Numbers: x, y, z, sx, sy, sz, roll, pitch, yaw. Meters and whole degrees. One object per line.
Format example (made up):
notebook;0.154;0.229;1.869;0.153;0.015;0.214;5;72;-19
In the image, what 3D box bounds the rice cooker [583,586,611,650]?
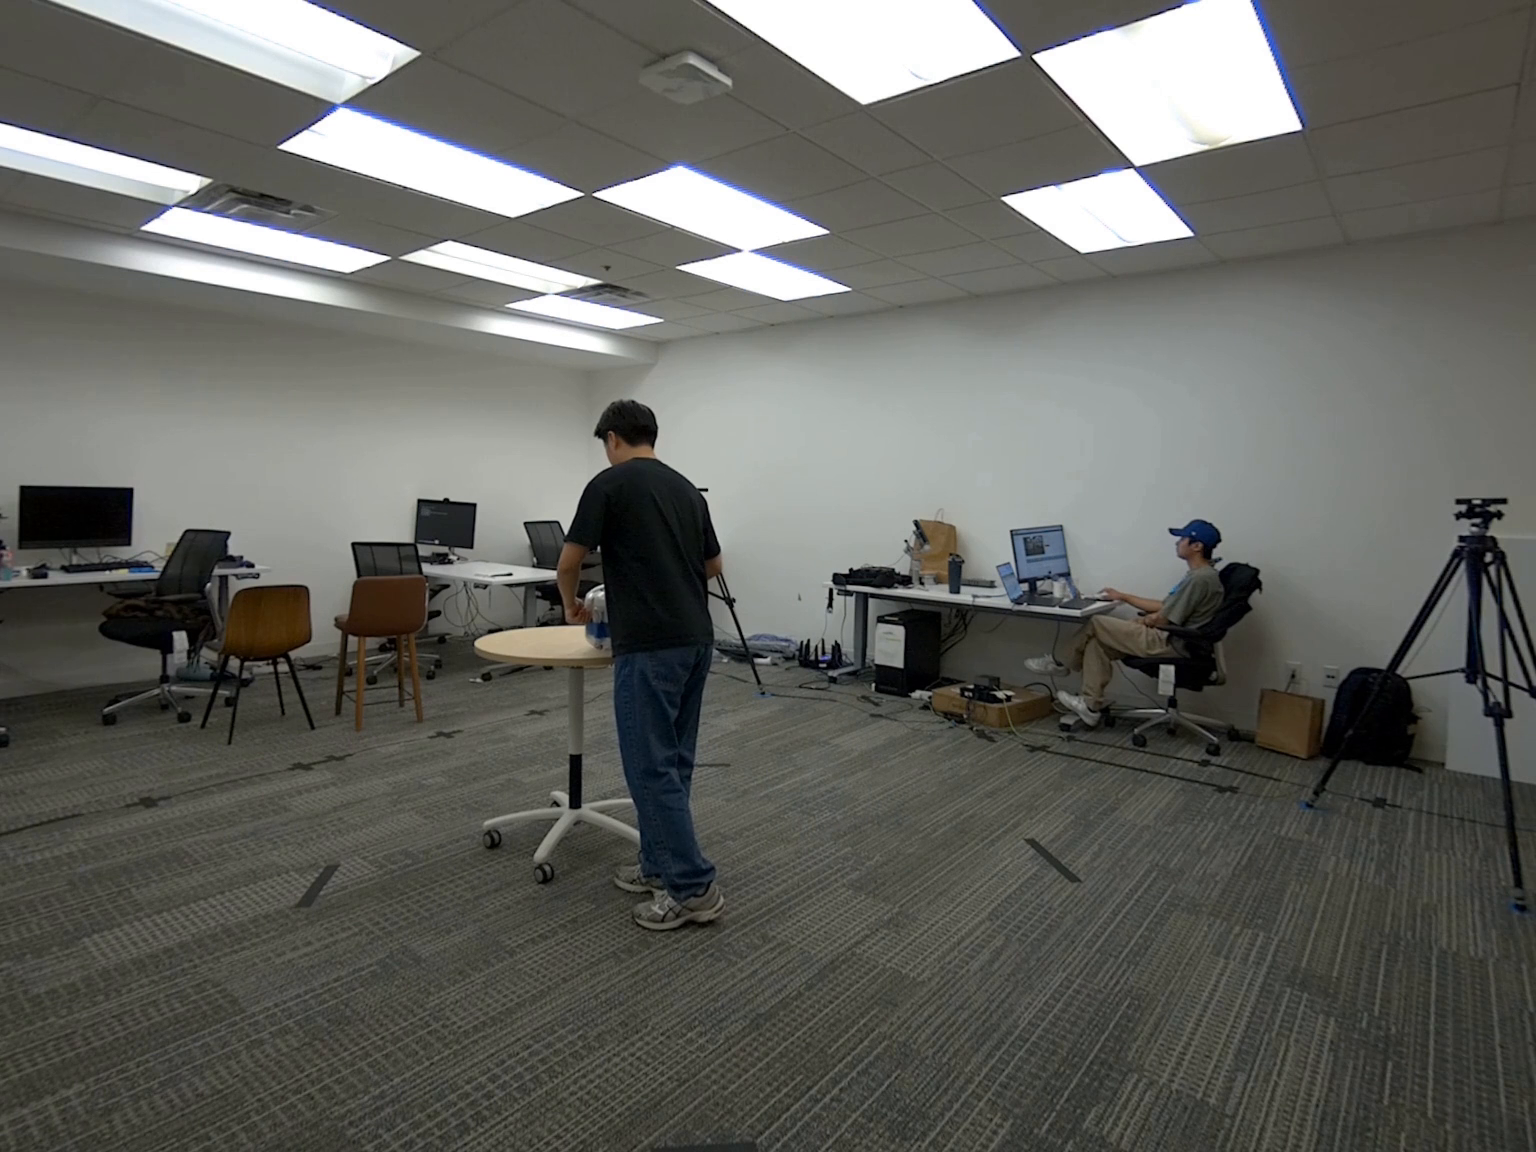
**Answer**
rice cooker;-0.580;0.139;3.111;0.215;0.231;0.224;4;11;-25
